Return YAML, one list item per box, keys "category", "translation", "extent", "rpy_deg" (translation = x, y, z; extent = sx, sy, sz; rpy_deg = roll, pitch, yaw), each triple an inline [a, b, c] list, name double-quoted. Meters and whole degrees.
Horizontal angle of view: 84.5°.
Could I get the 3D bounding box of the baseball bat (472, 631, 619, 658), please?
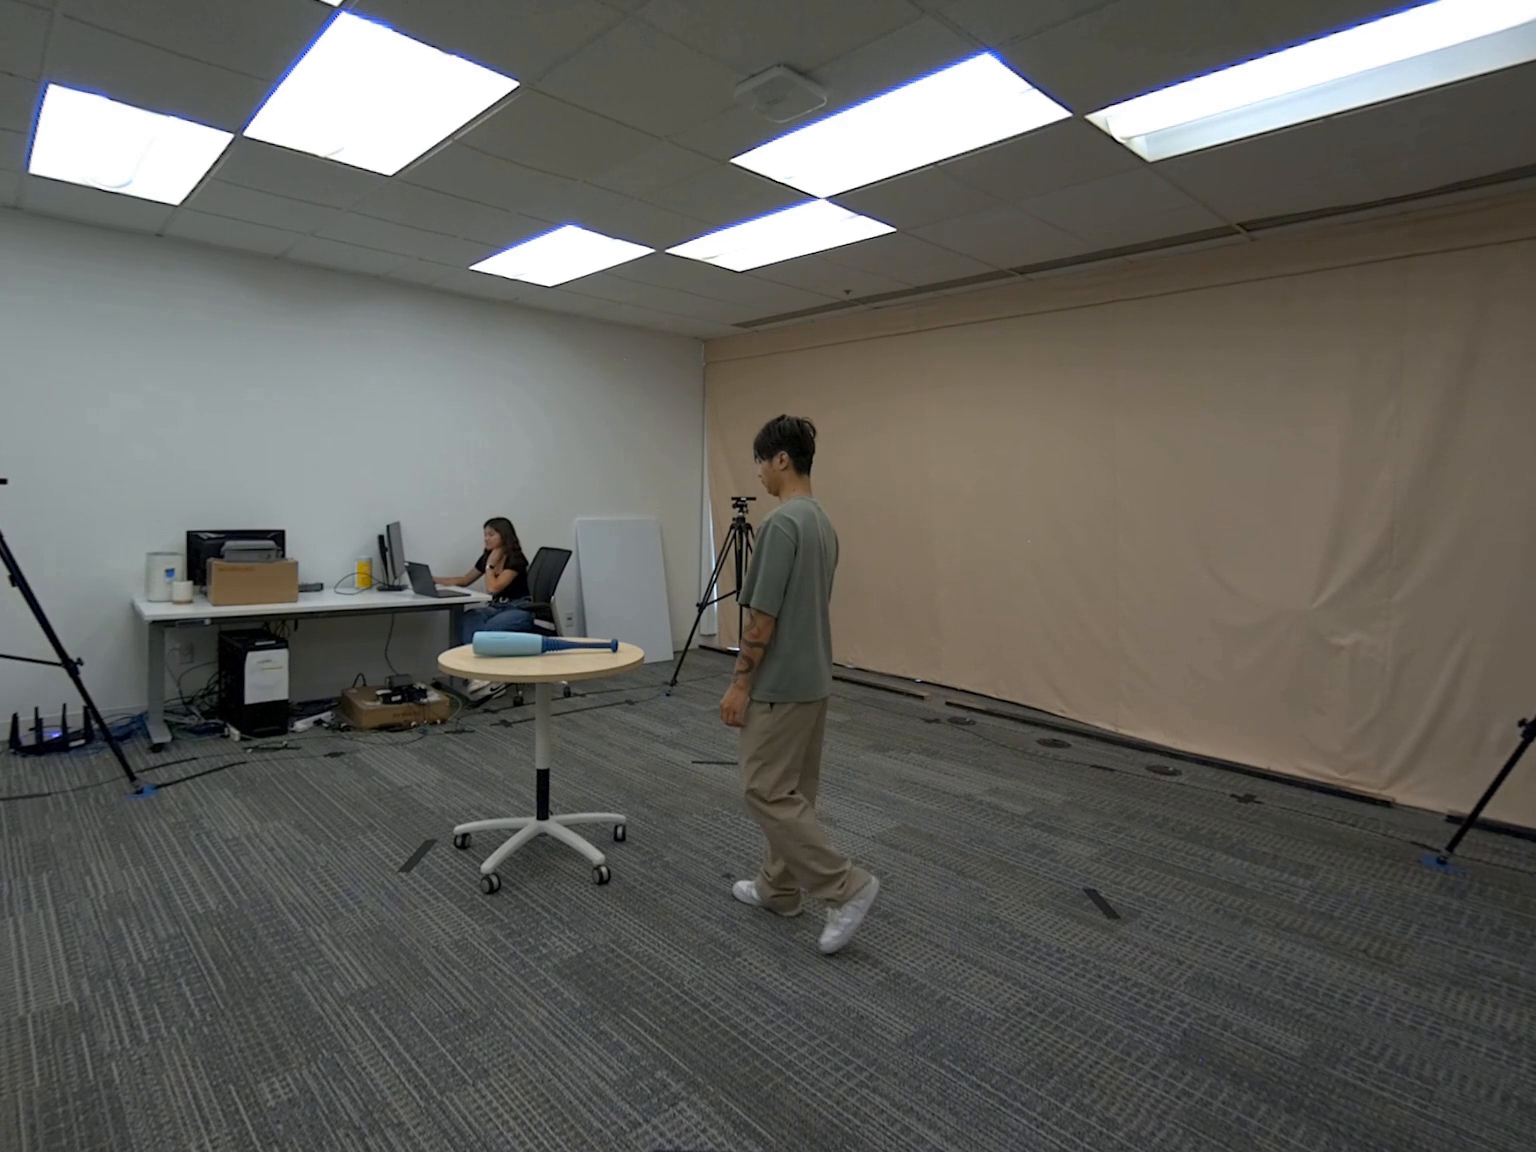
- category: "baseball bat"
  translation: [-0.849, 0.263, 3.207]
  extent: [0.536, 0.089, 0.090]
  rpy_deg: [2, 4, -15]
